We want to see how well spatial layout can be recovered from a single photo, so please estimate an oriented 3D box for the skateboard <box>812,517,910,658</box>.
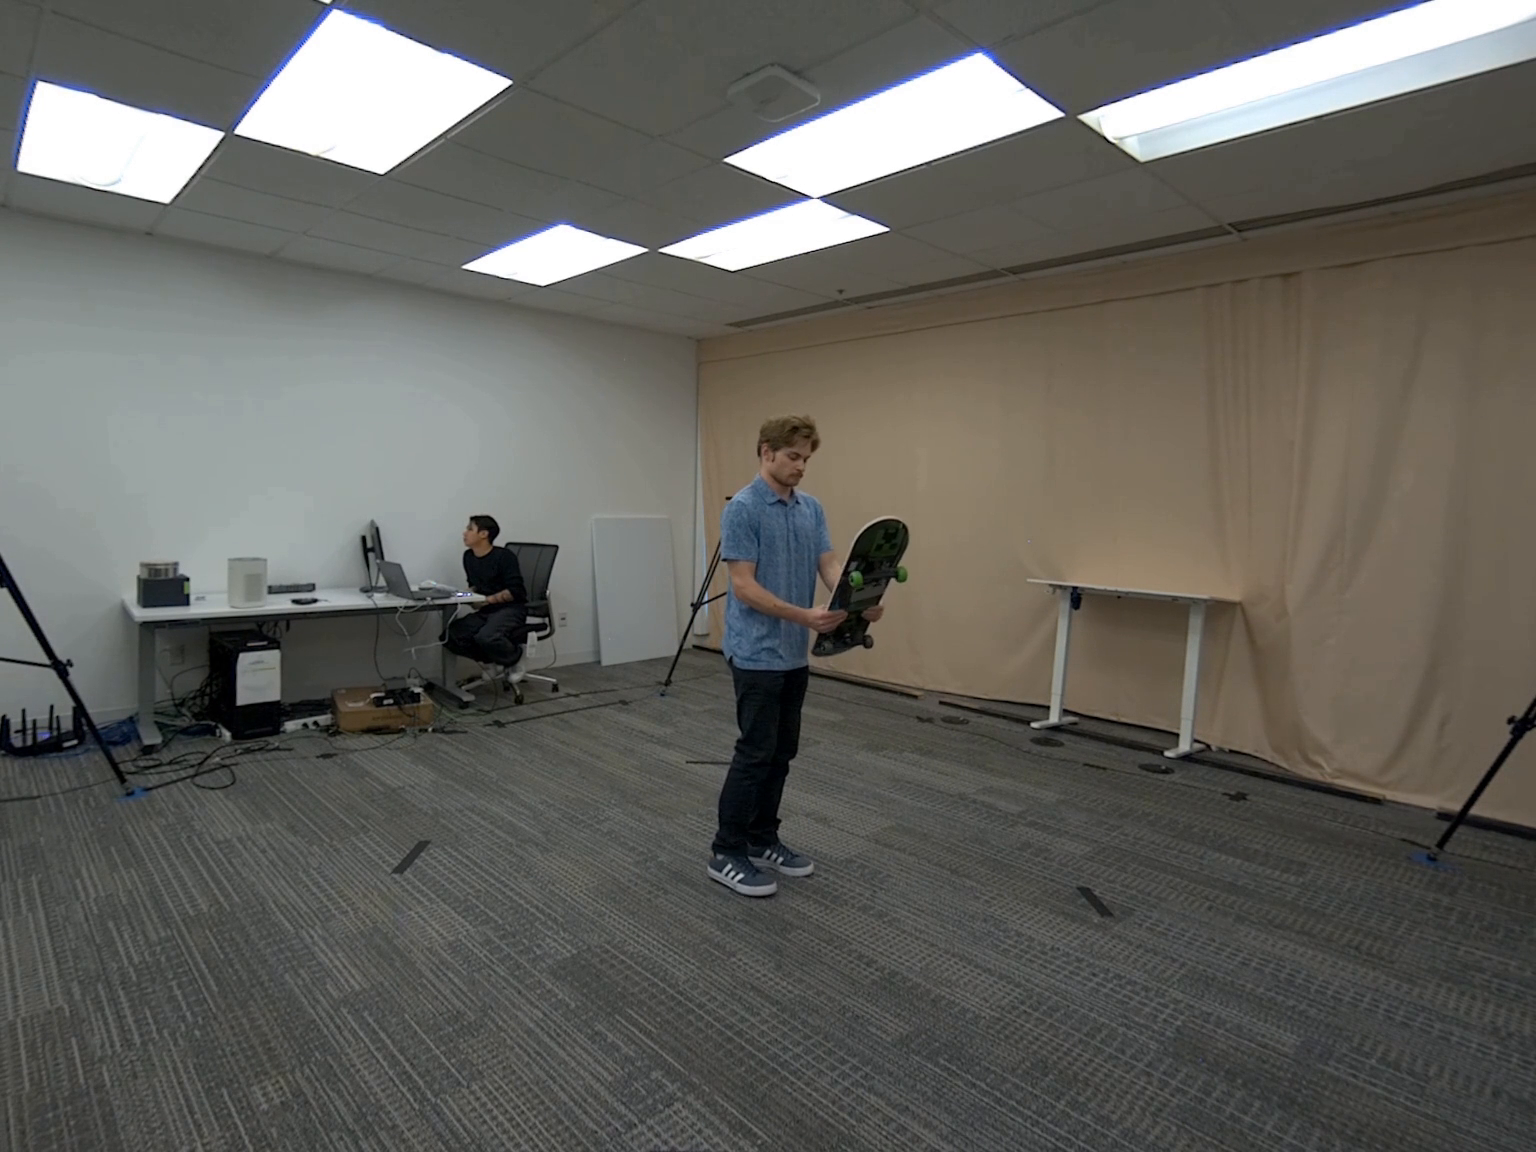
[{"bbox_3d":[0.289,0.106,2.805,0.191,0.113,0.773,-6,-38,-17],"label":"skateboard"}]
